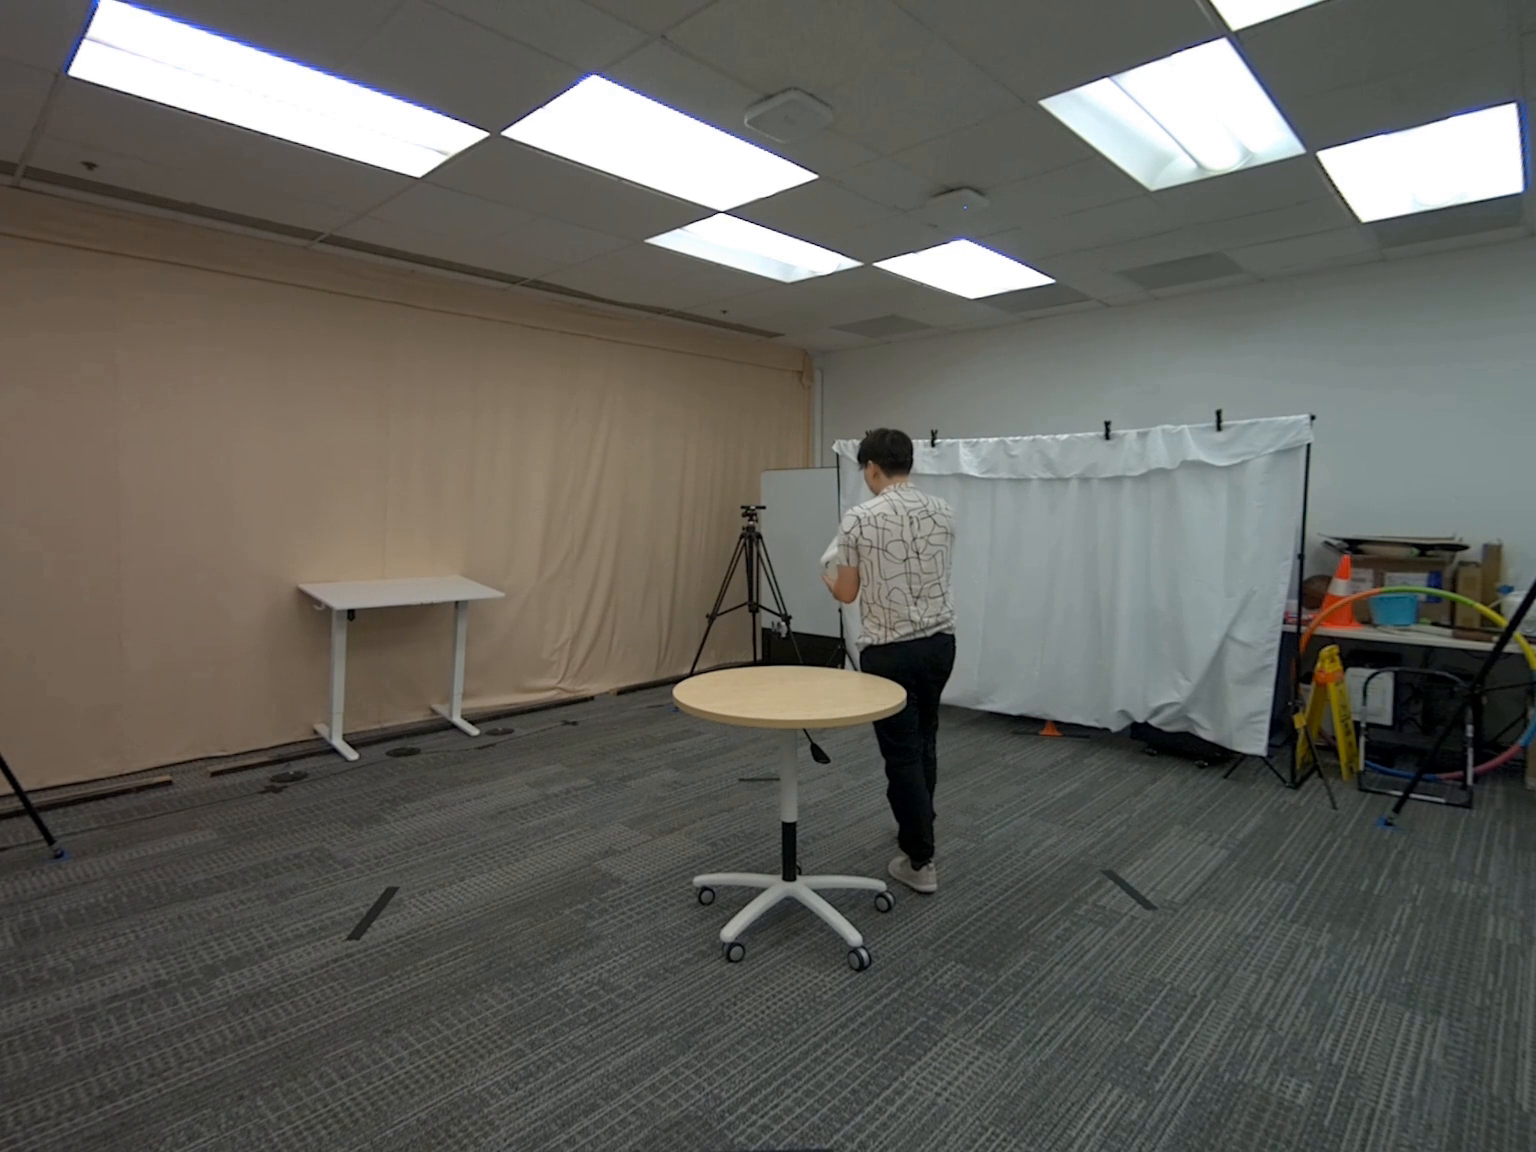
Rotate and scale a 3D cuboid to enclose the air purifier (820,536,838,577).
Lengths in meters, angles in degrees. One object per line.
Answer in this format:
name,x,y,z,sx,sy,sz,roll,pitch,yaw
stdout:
air purifier,0.346,-0.071,3.501,0.174,0.170,0.264,-27,12,27
